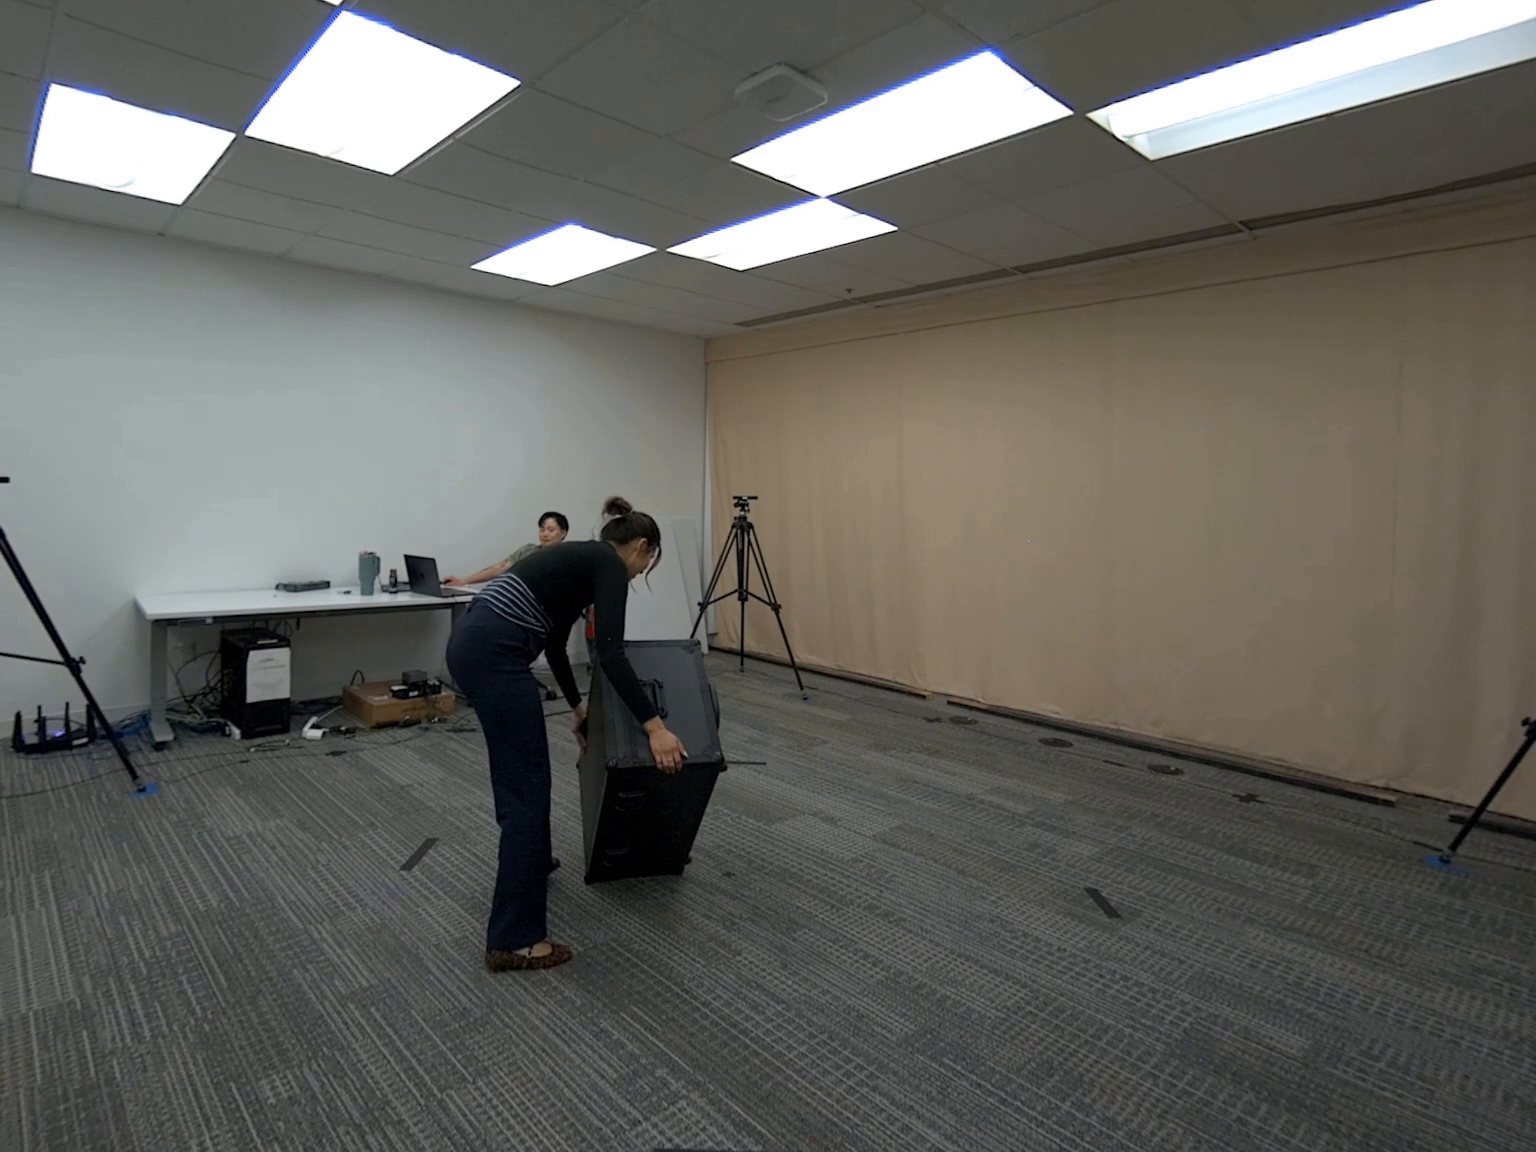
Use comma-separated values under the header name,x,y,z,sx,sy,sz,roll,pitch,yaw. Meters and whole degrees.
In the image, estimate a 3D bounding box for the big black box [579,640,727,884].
name,x,y,z,sx,sy,sz,roll,pitch,yaw
big black box,-0.445,0.683,2.984,0.391,0.849,0.536,1,46,-18
